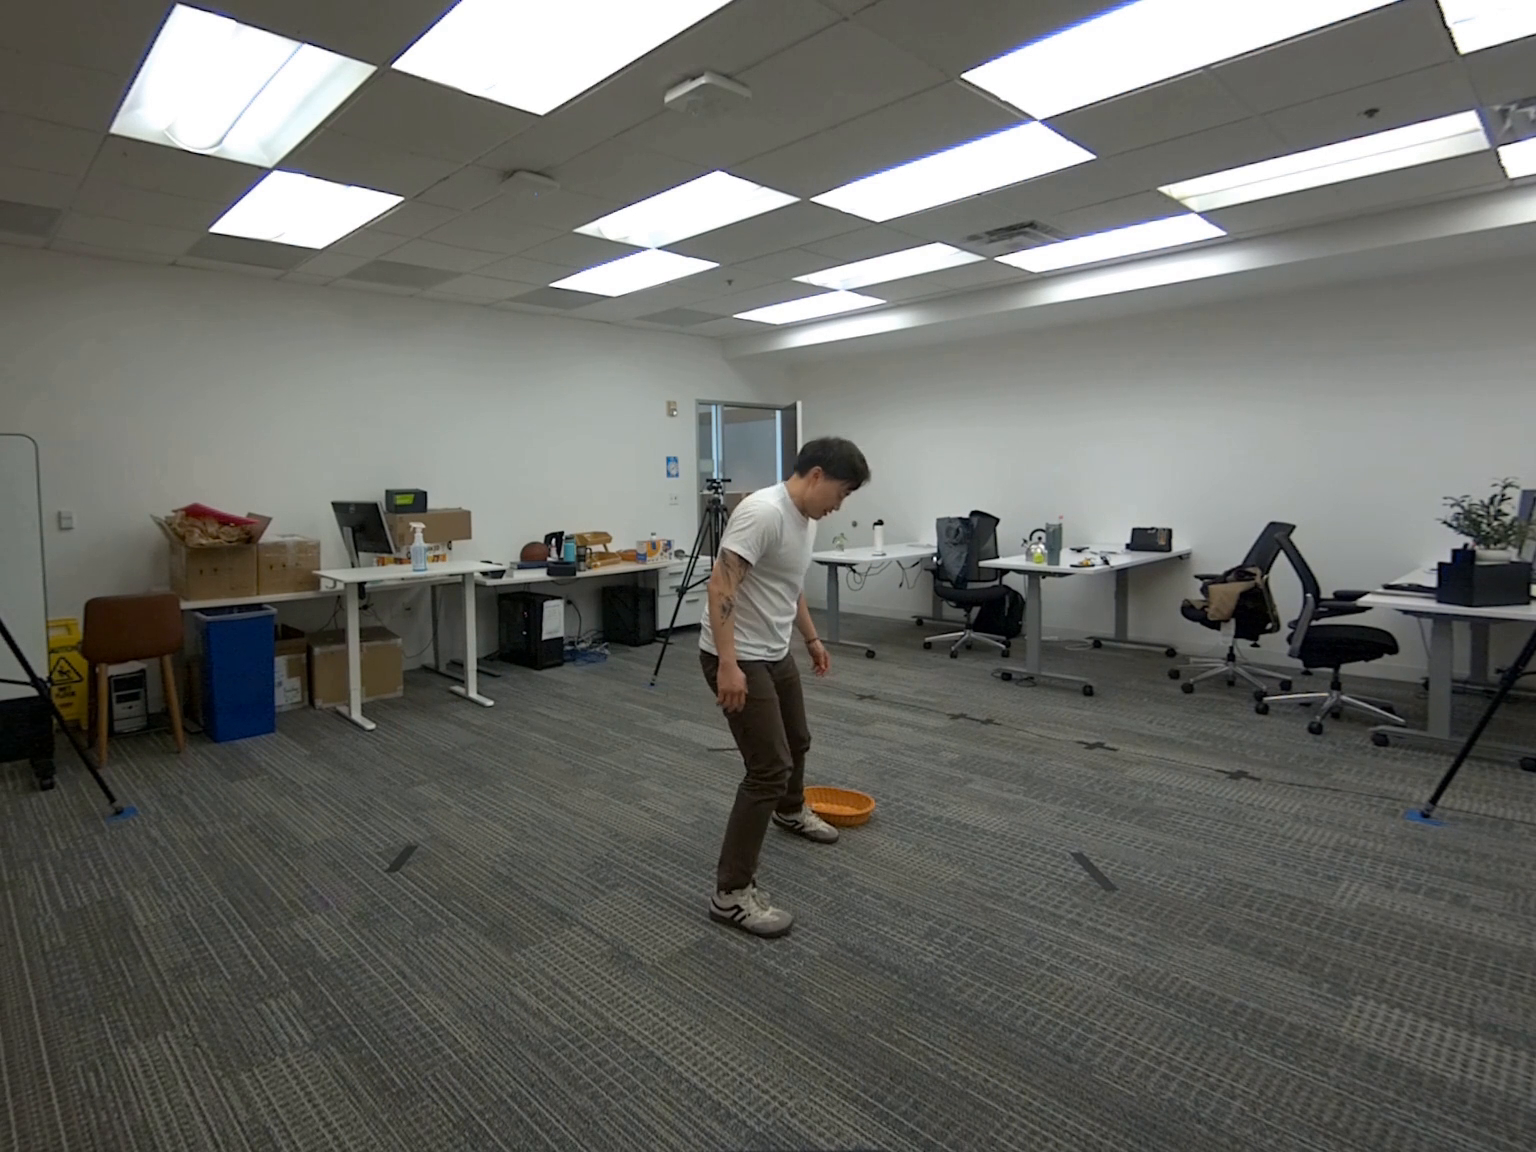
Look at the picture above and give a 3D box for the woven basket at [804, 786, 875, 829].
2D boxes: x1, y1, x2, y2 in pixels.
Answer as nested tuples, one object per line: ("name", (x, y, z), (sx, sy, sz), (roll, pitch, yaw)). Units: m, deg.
("woven basket", (0.265, 0.953, 3.525), (0.359, 0.073, 0.248), (3, 9, 27))
